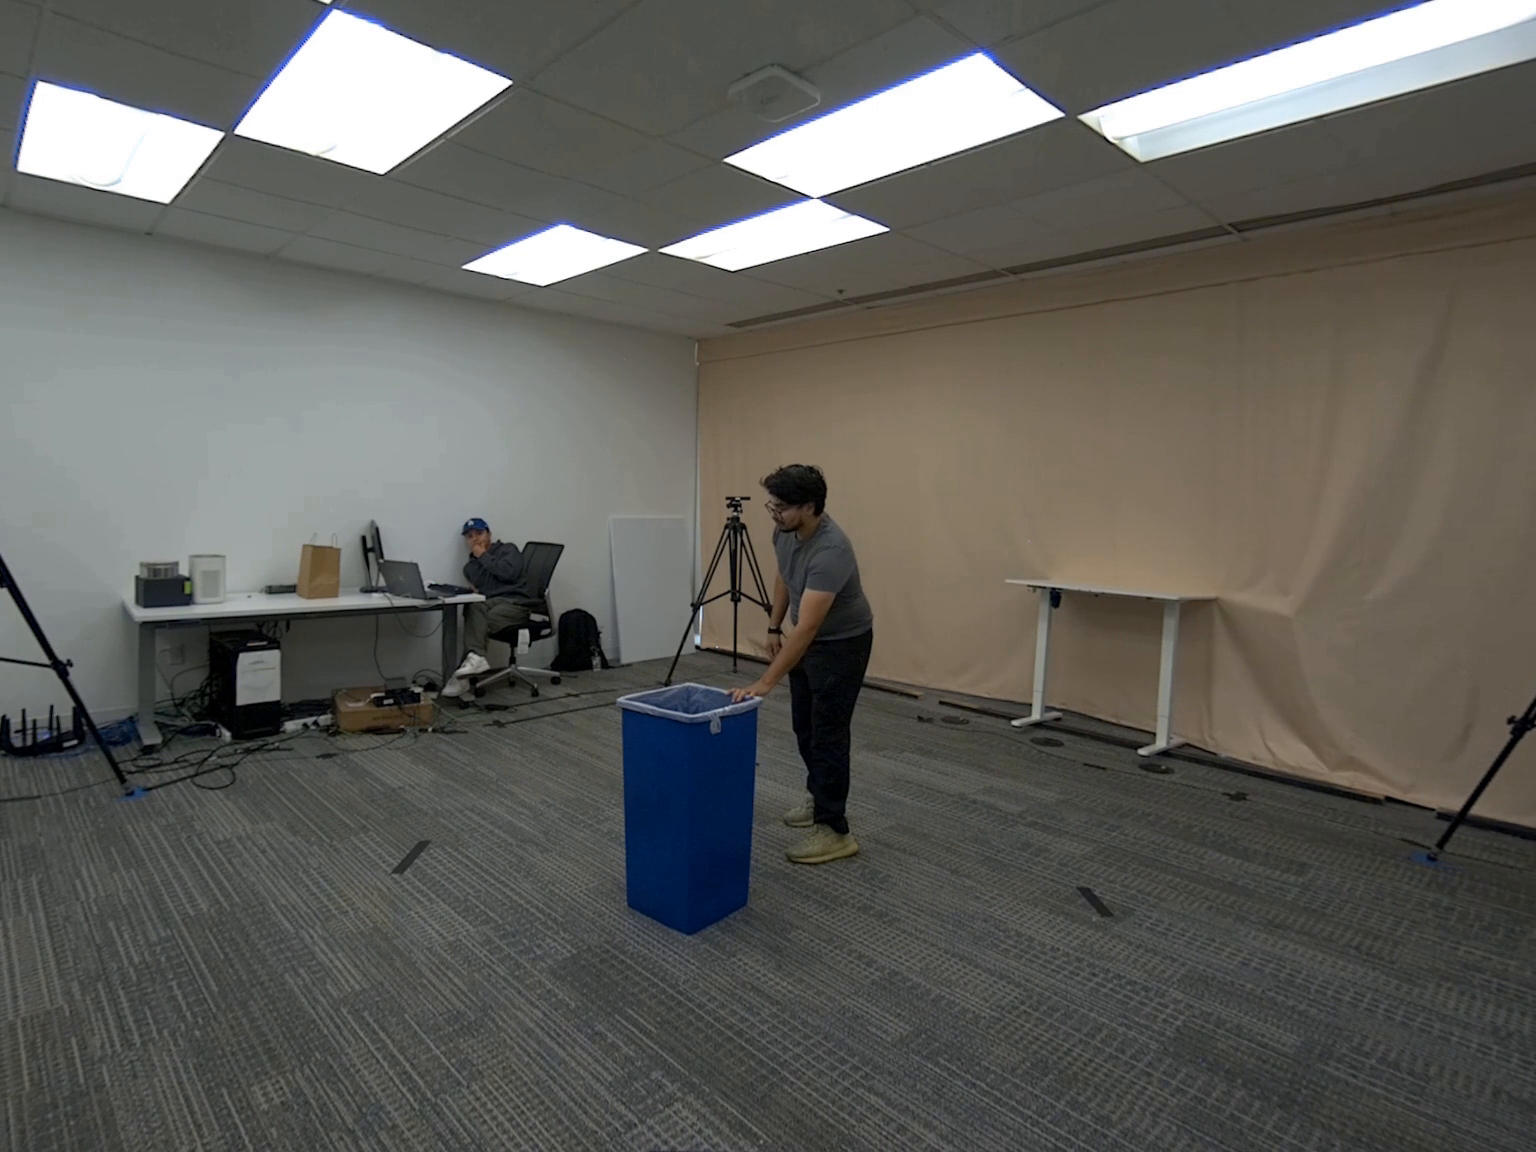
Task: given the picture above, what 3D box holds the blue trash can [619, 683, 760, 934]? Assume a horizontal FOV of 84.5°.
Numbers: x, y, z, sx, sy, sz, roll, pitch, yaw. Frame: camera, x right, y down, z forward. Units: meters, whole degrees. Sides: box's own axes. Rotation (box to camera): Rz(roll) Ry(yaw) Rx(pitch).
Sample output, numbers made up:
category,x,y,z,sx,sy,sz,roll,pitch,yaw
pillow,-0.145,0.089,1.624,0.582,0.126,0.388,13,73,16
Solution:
category,x,y,z,sx,sy,sz,roll,pitch,yaw
blue trash can,-0.282,0.768,2.861,0.383,0.712,0.369,4,4,39
